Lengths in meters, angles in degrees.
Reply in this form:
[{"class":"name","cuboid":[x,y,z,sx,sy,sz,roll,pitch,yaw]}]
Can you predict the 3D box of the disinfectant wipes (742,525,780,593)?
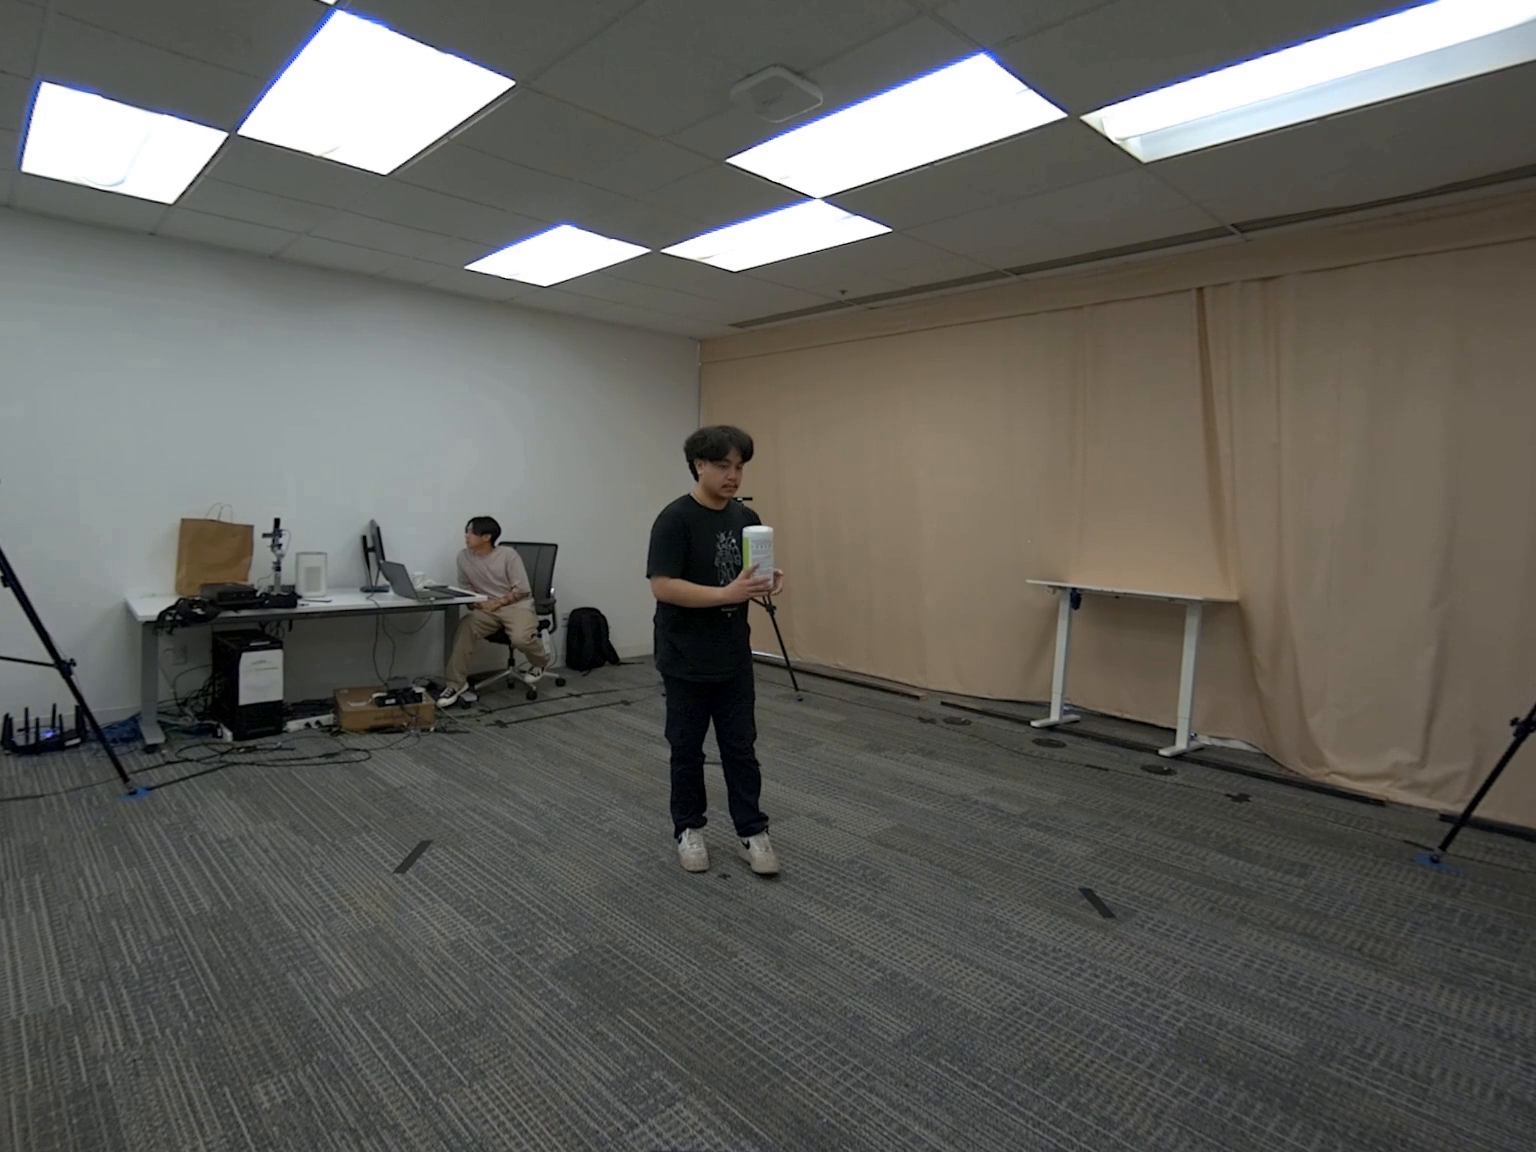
[{"class":"disinfectant wipes","cuboid":[-0.048,-0.066,2.991,0.118,0.216,0.119,1,11,-1]}]
